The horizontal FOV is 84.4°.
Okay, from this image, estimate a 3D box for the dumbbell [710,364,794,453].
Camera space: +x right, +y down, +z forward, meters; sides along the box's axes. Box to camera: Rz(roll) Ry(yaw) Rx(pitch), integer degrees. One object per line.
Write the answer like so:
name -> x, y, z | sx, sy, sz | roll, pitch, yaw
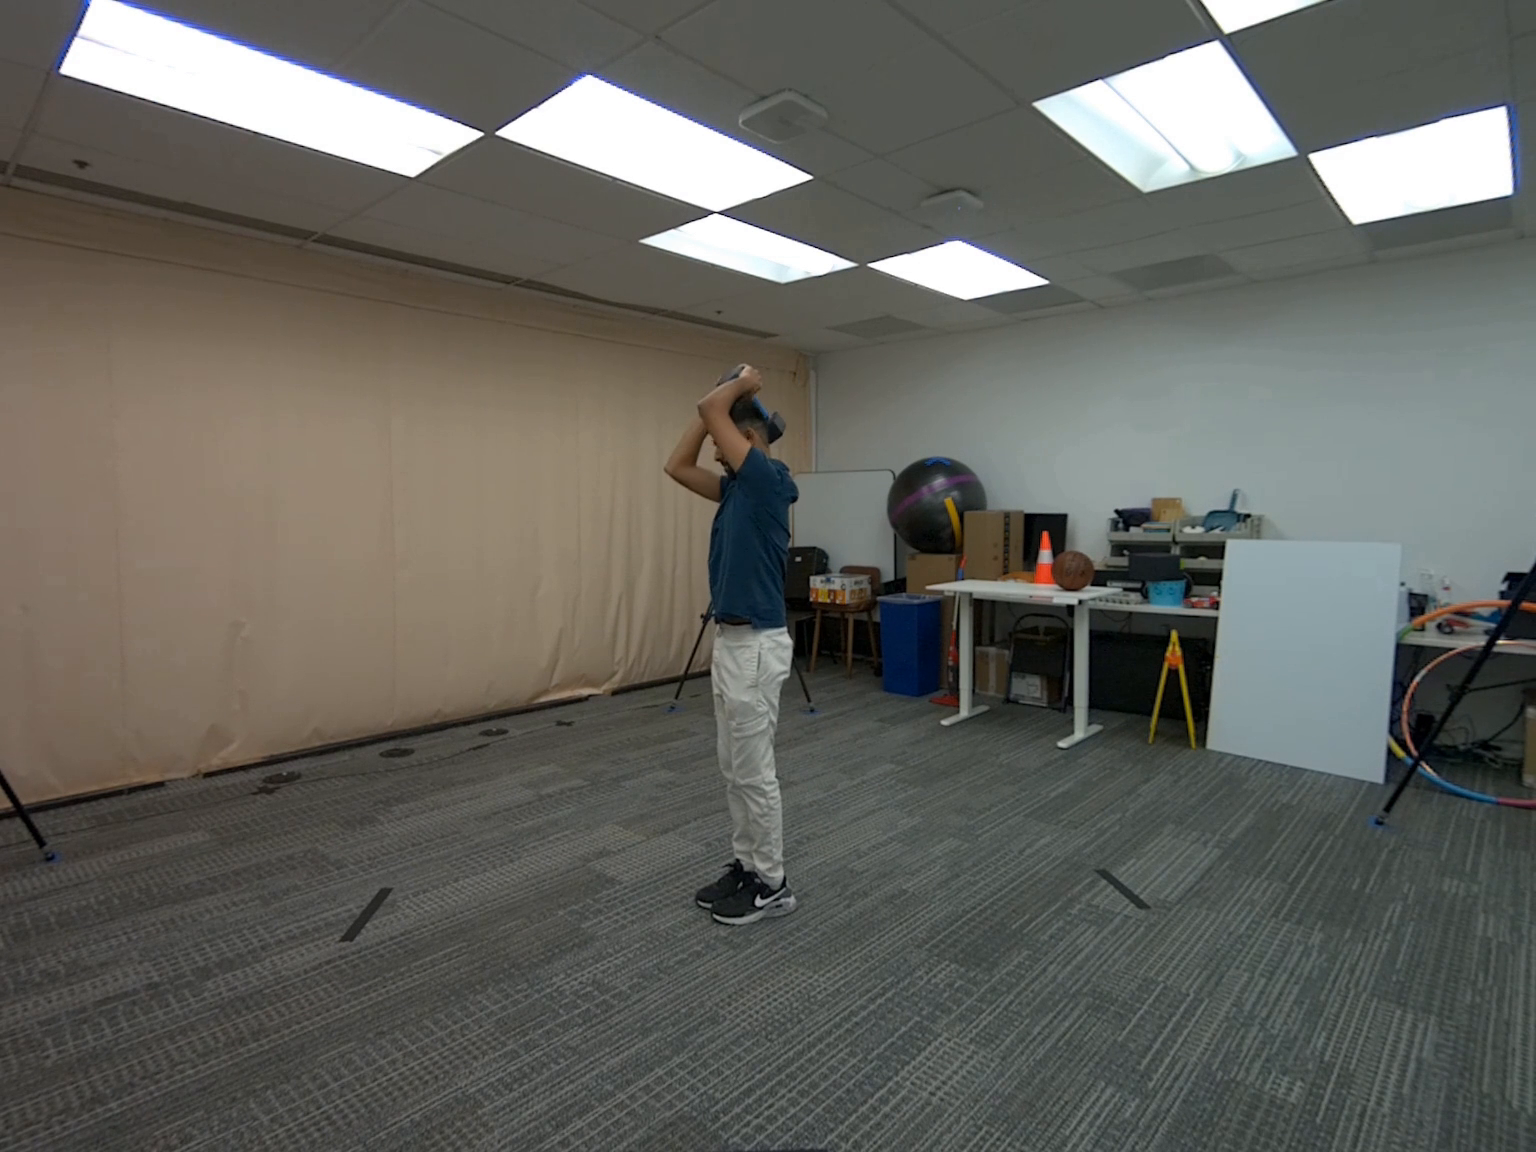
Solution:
dumbbell -> -0.059, -0.597, 3.035 | 0.123, 0.285, 0.111 | -39, 26, 8
